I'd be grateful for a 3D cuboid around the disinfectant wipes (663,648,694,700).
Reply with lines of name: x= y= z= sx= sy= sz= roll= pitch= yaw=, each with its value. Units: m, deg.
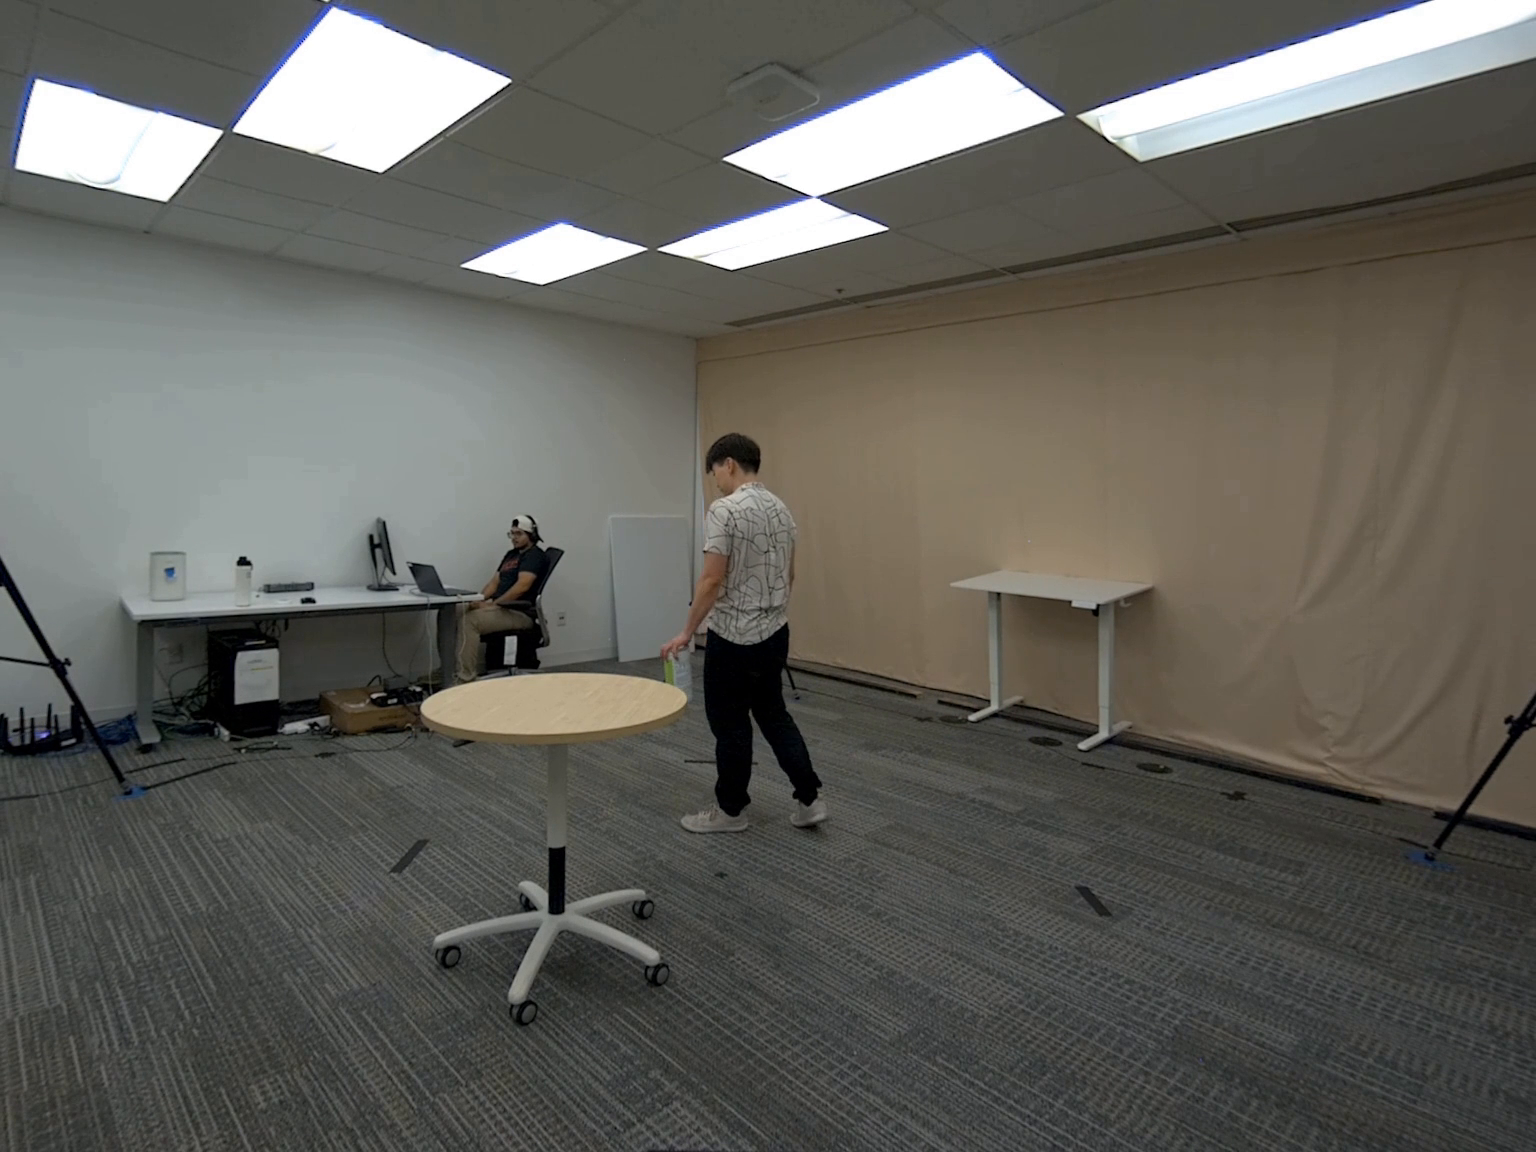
disinfectant wipes: x=-0.355 y=0.401 z=3.385 sx=0.118 sy=0.216 sz=0.118 roll=0 pitch=9 yaw=-1
